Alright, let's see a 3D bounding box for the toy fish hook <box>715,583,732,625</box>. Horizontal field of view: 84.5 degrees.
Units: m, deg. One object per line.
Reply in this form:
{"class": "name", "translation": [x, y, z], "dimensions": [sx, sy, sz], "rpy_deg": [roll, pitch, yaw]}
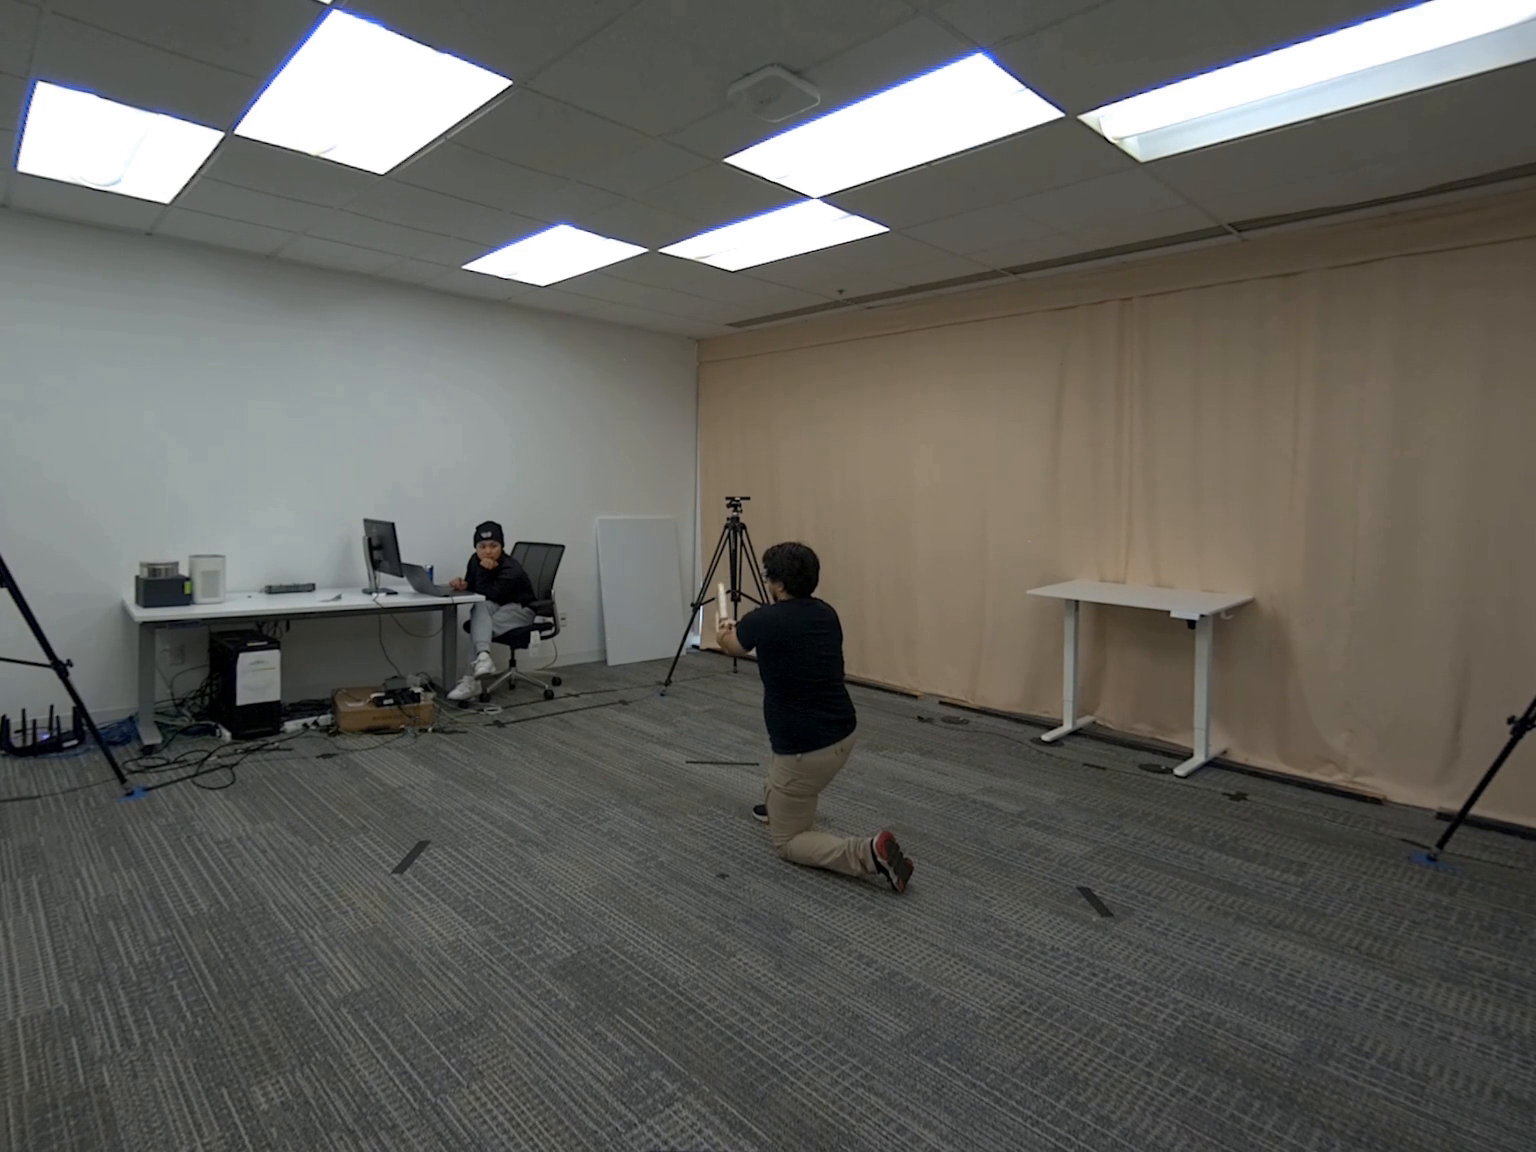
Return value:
{"class": "toy fish hook", "translation": [-0.218, 0.224, 3.954], "dimensions": [0.048, 0.221, 0.518], "rpy_deg": [1, 29, -9]}
